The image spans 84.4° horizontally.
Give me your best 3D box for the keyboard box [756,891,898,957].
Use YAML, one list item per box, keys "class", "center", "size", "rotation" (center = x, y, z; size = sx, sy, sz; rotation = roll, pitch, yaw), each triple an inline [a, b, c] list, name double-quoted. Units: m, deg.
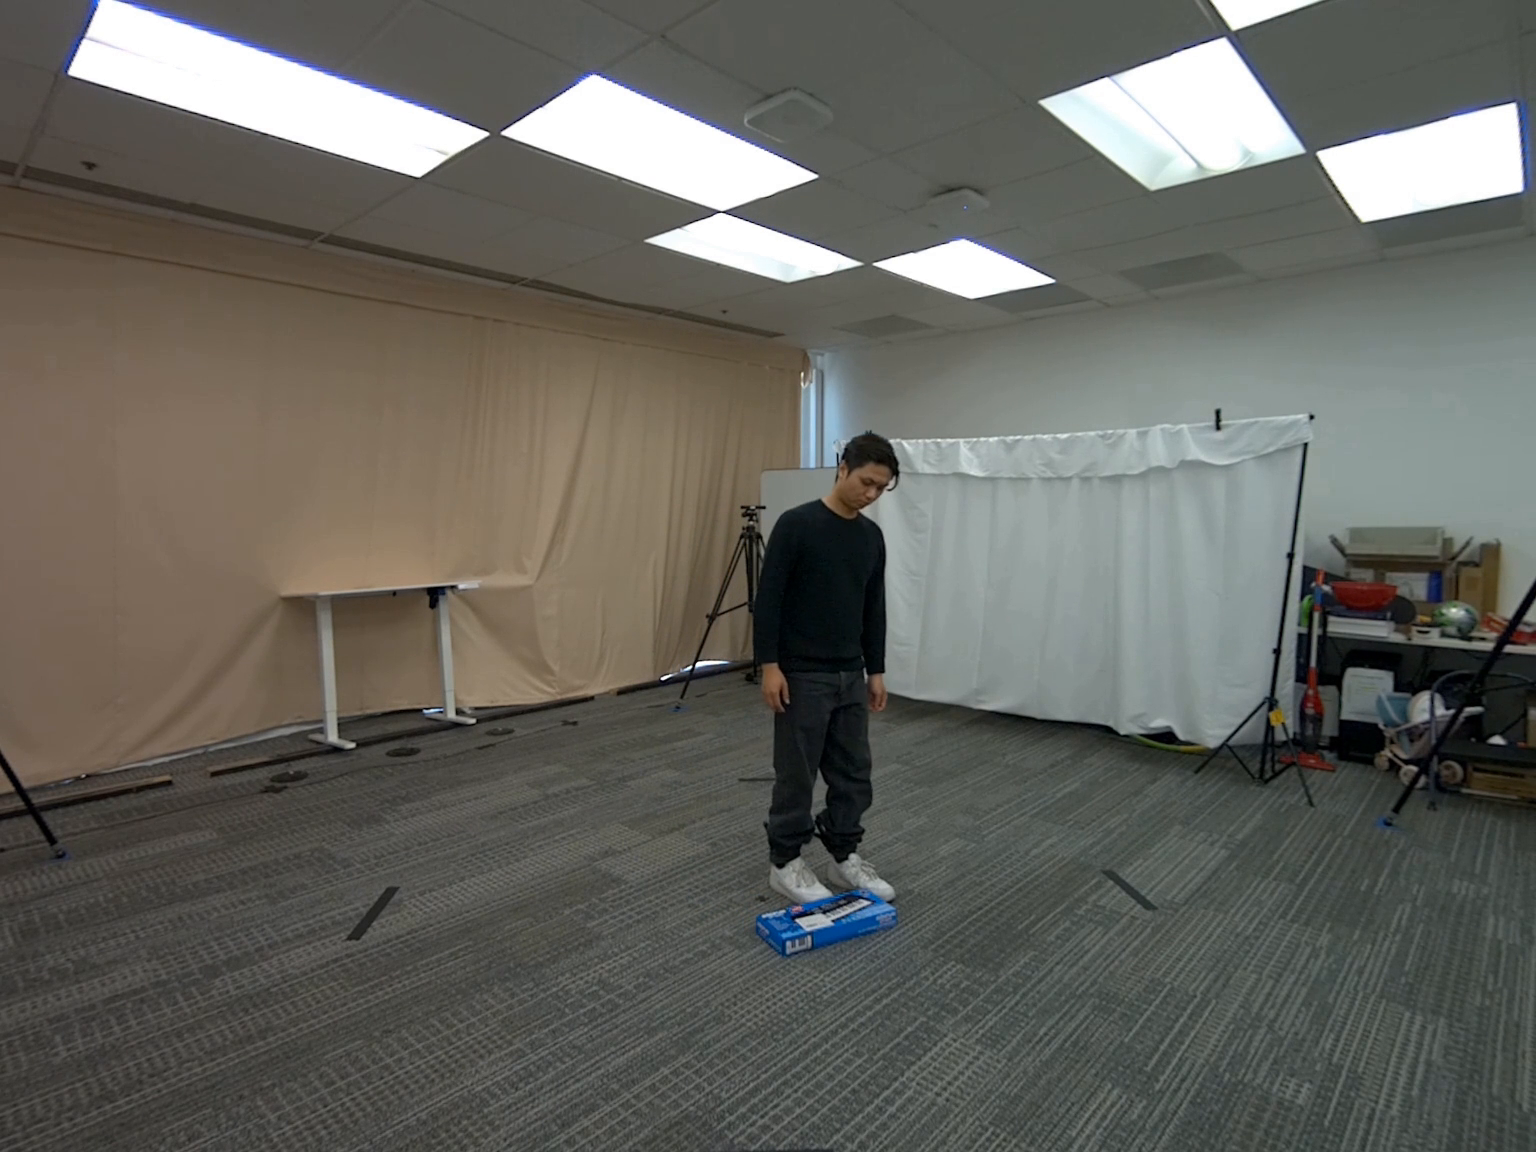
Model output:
- class: "keyboard box"
  center: [0.196, 1.130, 2.761]
  size: [0.426, 0.059, 0.181]
  rotation: [-3, 5, -27]
